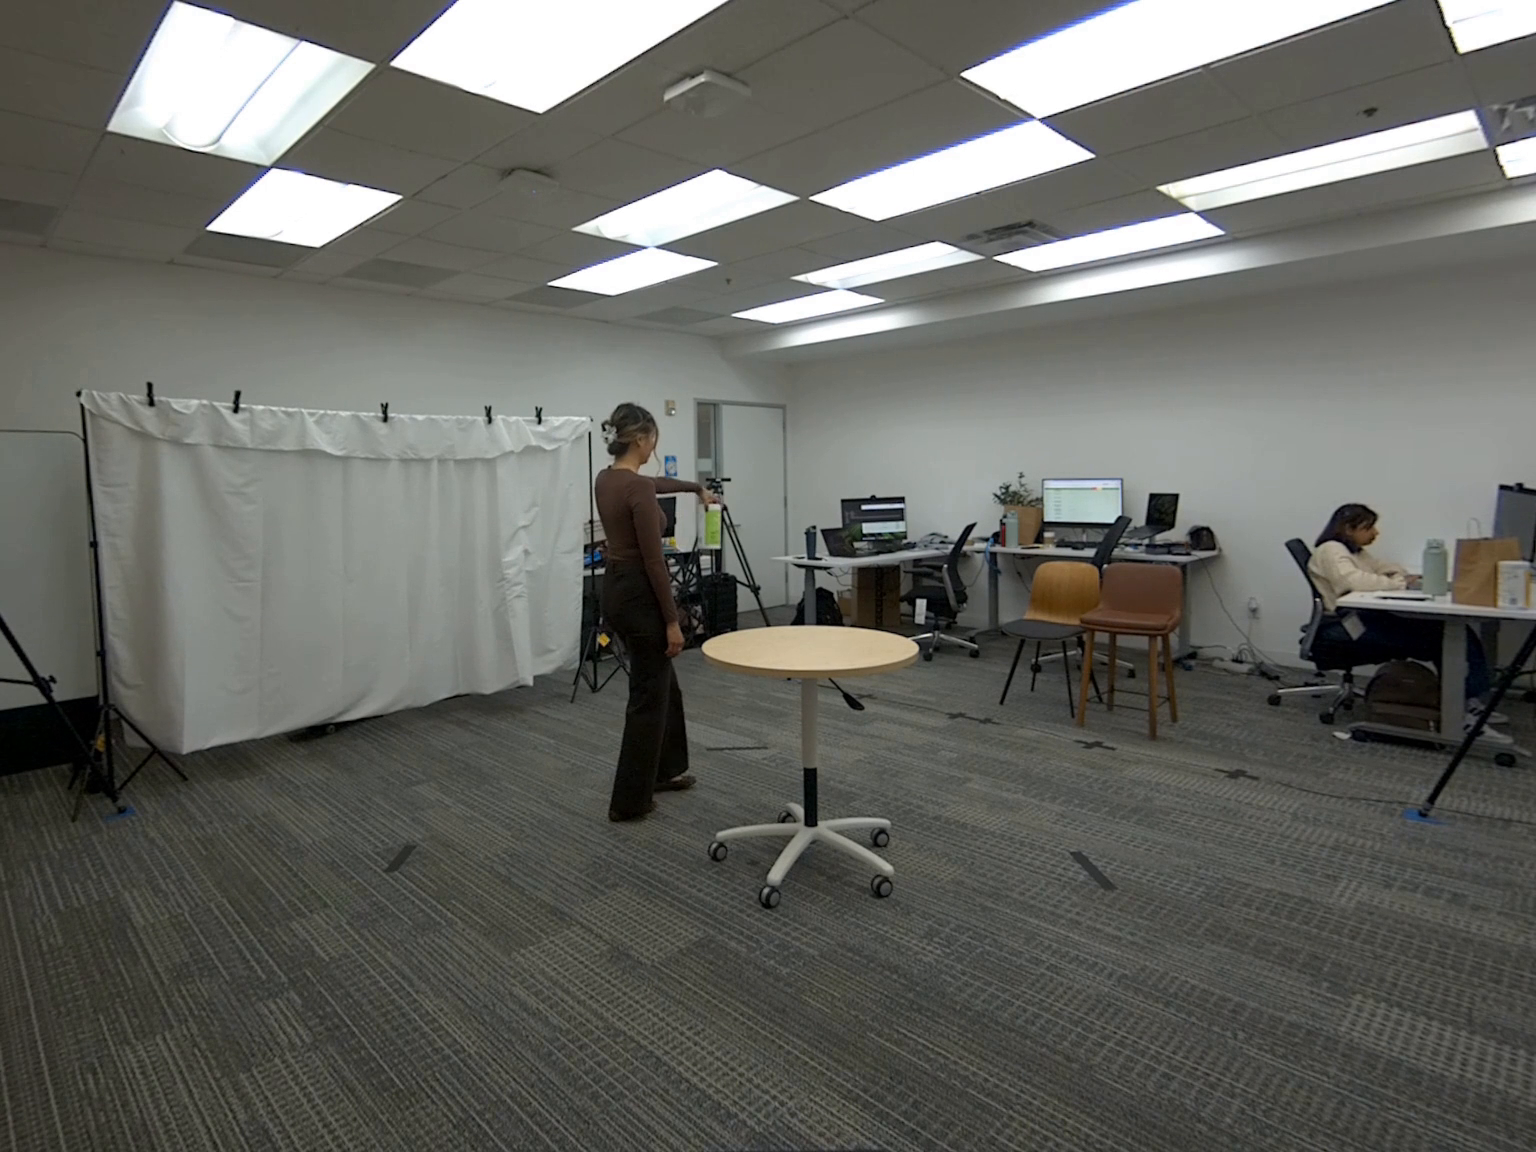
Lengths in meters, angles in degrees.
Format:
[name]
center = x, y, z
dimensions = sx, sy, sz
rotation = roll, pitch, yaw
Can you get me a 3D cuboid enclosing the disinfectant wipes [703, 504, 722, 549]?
[disinfectant wipes]
center = -0.275, -0.236, 4.100
dimensions = 0.118, 0.217, 0.118
rotation = 0, 1, -2
